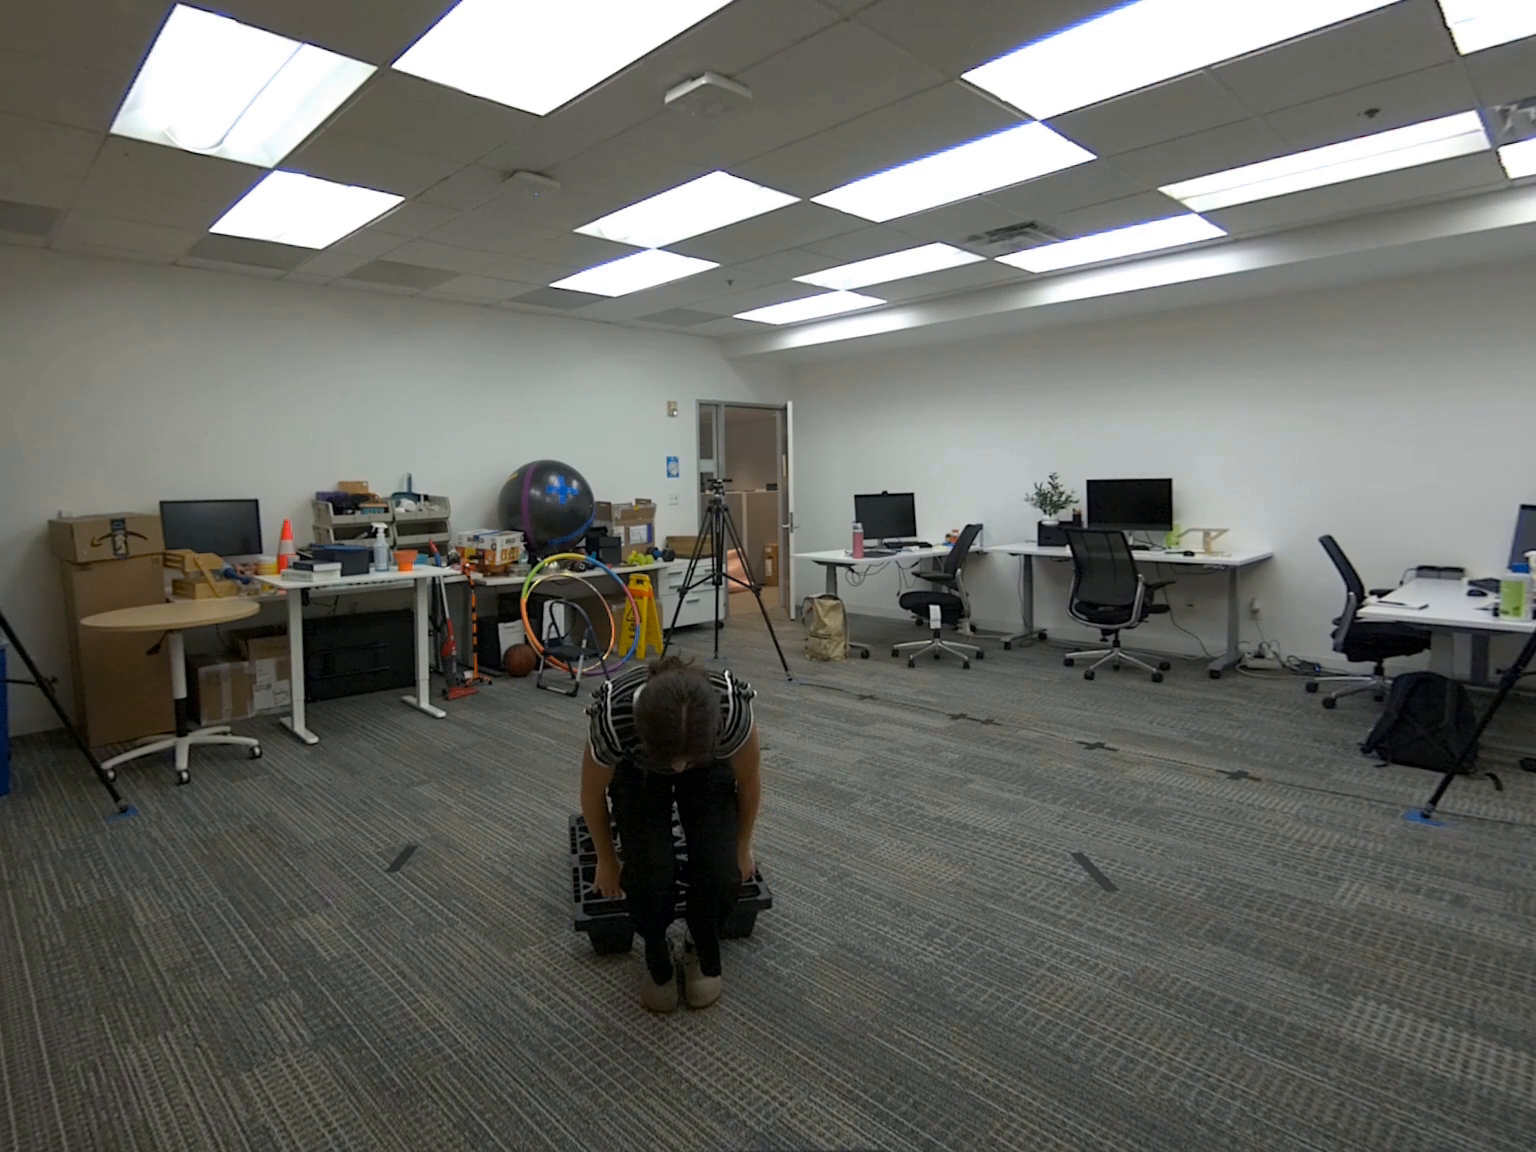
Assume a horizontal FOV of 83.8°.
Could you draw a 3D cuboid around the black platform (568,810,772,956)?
[{"bbox_3d":[-0.367,1.005,2.915,0.598,0.142,0.819,-3,7,-13],"label":"black platform"}]
